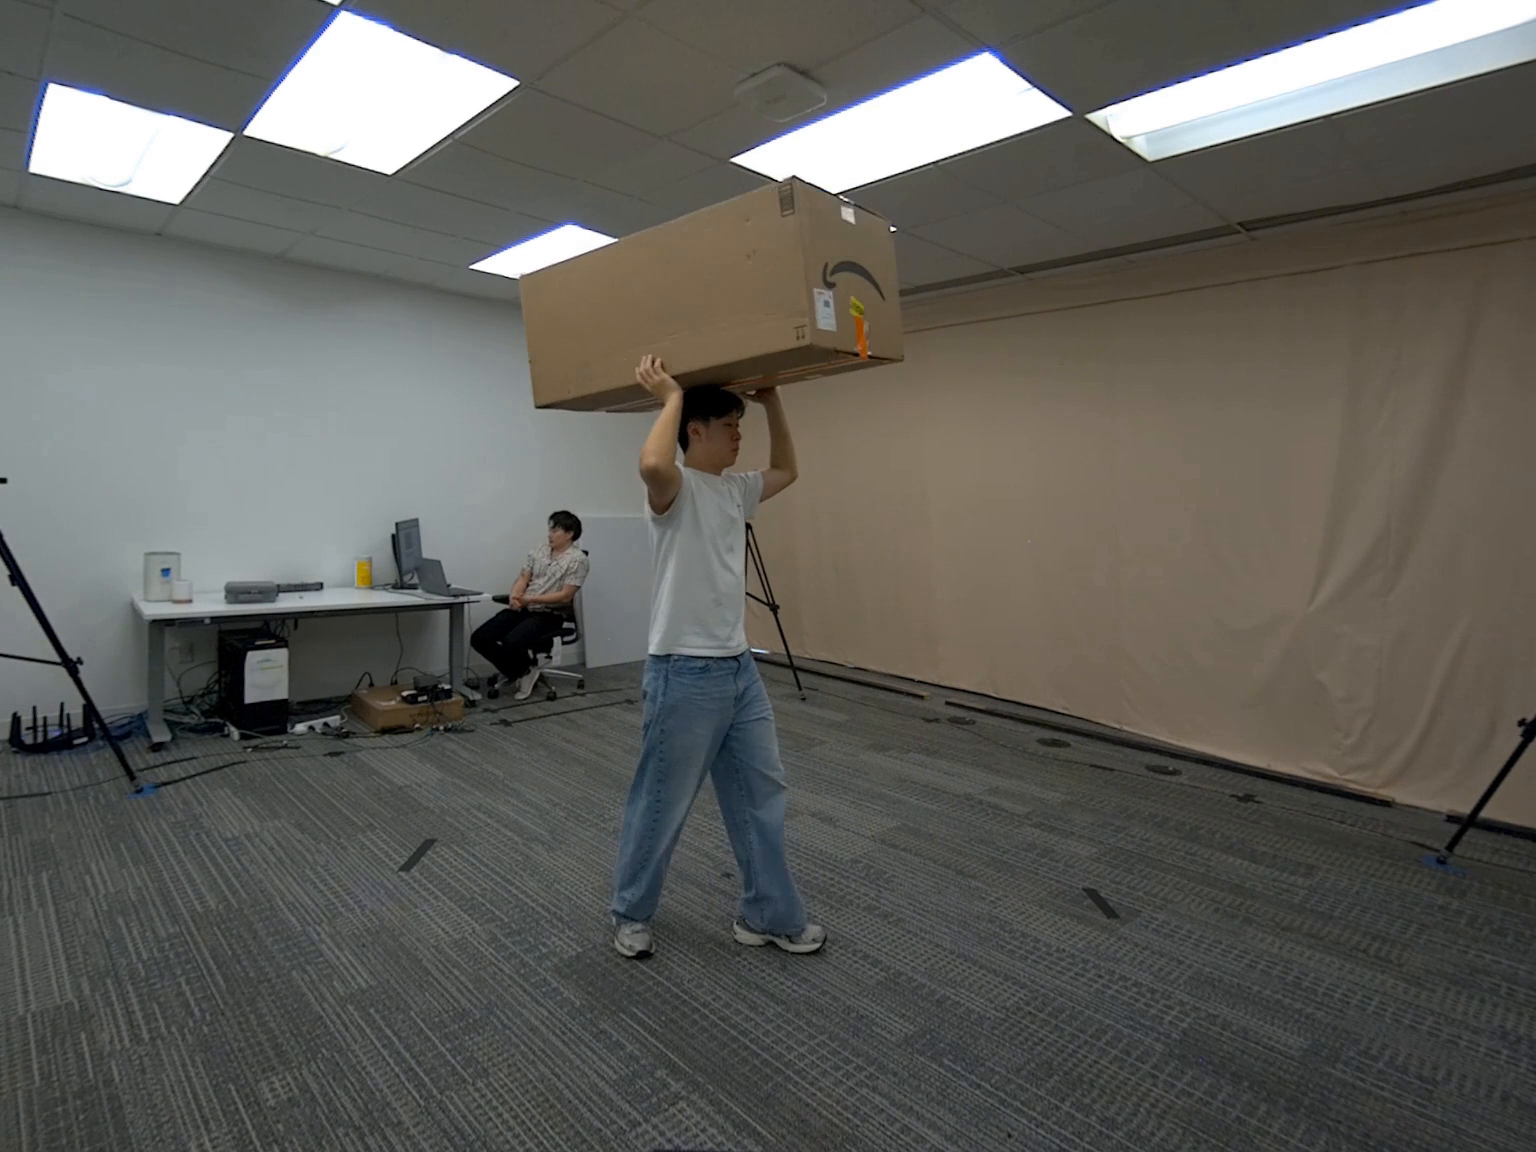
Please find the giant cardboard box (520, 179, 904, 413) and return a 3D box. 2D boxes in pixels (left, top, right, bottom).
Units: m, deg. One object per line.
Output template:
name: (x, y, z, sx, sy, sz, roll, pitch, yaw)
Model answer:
giant cardboard box: (-0.186, -0.793, 2.610, 1.047, 0.425, 0.567, -3, 6, 35)
